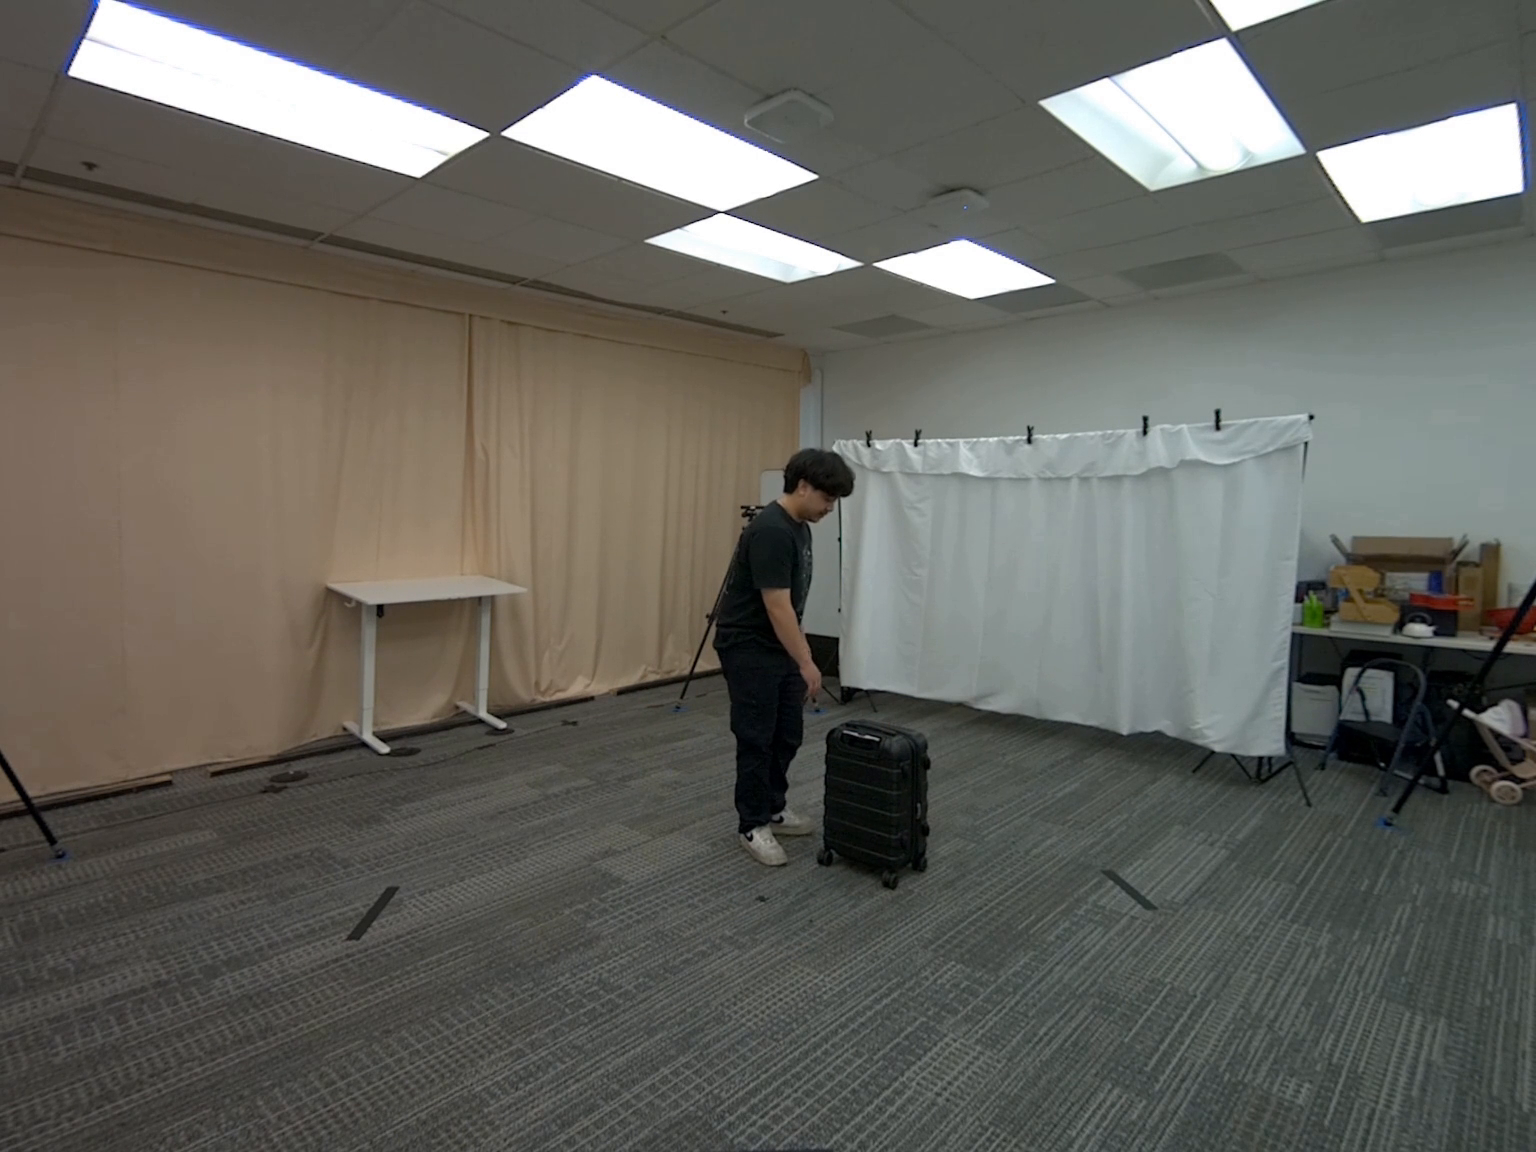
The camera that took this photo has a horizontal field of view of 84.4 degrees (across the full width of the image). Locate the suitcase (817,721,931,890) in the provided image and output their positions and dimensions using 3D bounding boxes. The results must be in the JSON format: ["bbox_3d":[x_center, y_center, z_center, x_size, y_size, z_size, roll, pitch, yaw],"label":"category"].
[{"bbox_3d":[0.417,0.842,3.245,0.388,0.549,0.240,2,2,42],"label":"suitcase"}]
